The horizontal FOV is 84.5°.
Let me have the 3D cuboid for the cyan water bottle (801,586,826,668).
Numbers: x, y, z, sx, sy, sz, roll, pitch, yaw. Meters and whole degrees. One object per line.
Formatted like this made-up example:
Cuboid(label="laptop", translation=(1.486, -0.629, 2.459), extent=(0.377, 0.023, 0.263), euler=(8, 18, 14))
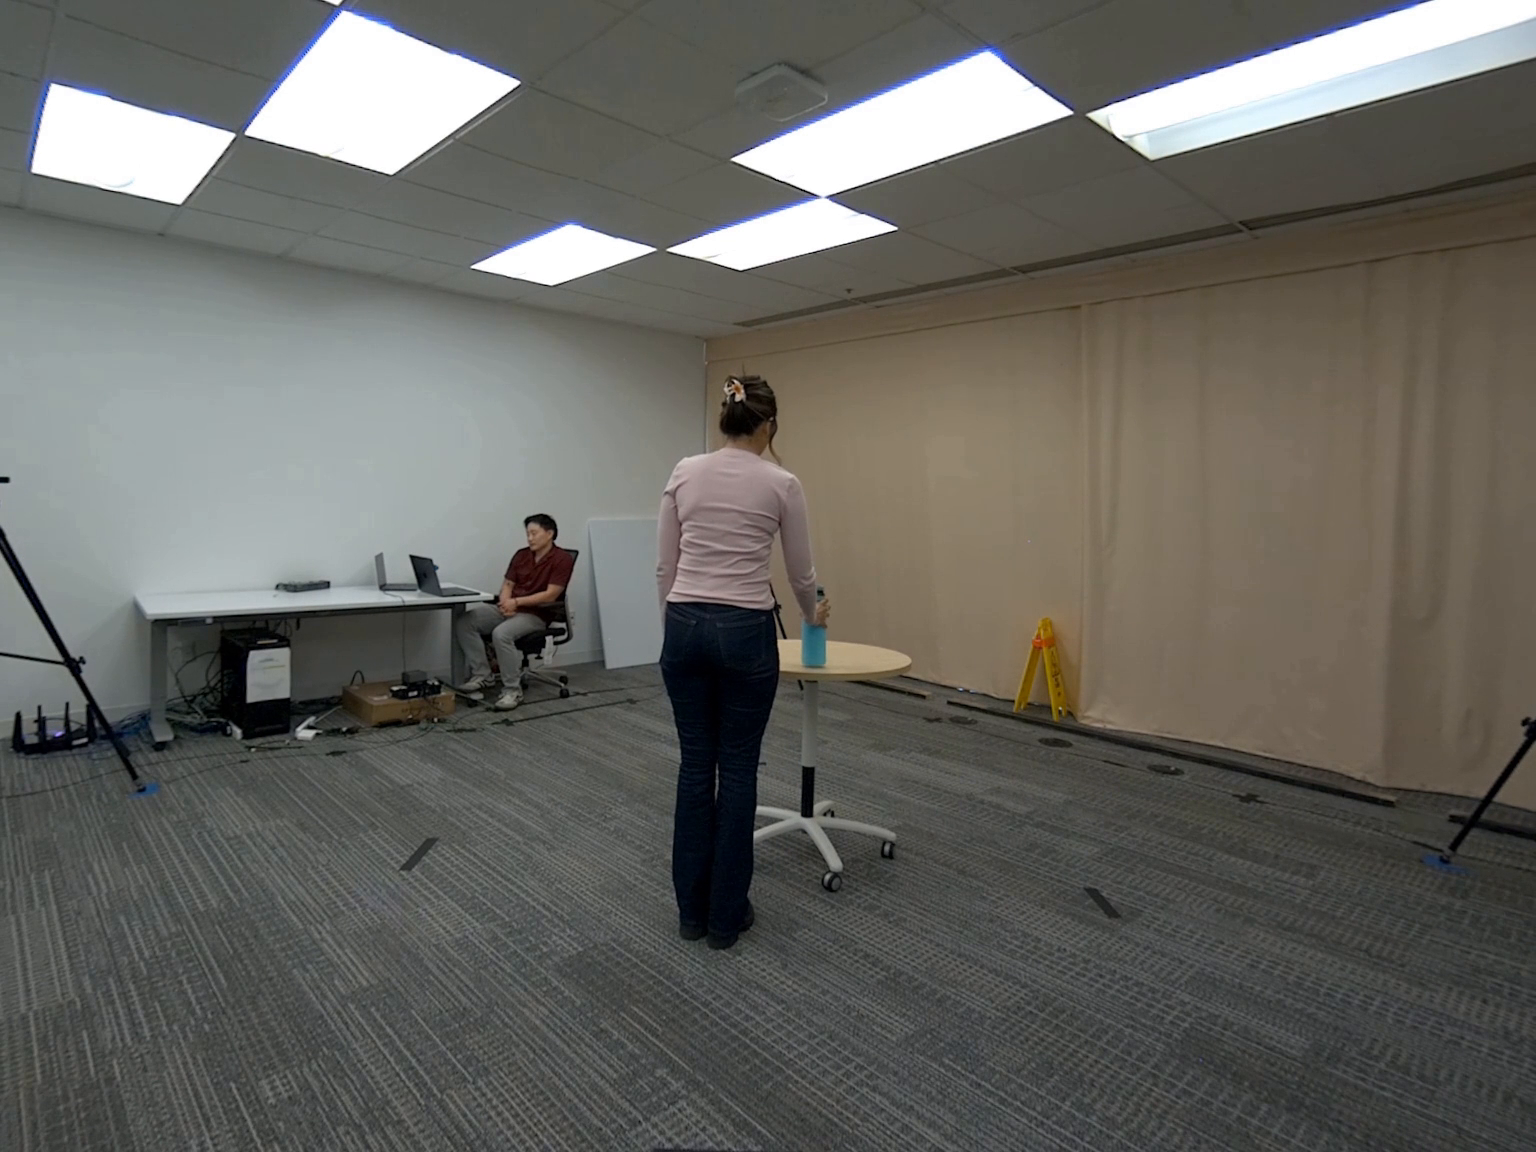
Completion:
Cuboid(label="cyan water bottle", translation=(0.163, 0.178, 3.032), extent=(0.092, 0.282, 0.092), euler=(-1, 4, -1))
